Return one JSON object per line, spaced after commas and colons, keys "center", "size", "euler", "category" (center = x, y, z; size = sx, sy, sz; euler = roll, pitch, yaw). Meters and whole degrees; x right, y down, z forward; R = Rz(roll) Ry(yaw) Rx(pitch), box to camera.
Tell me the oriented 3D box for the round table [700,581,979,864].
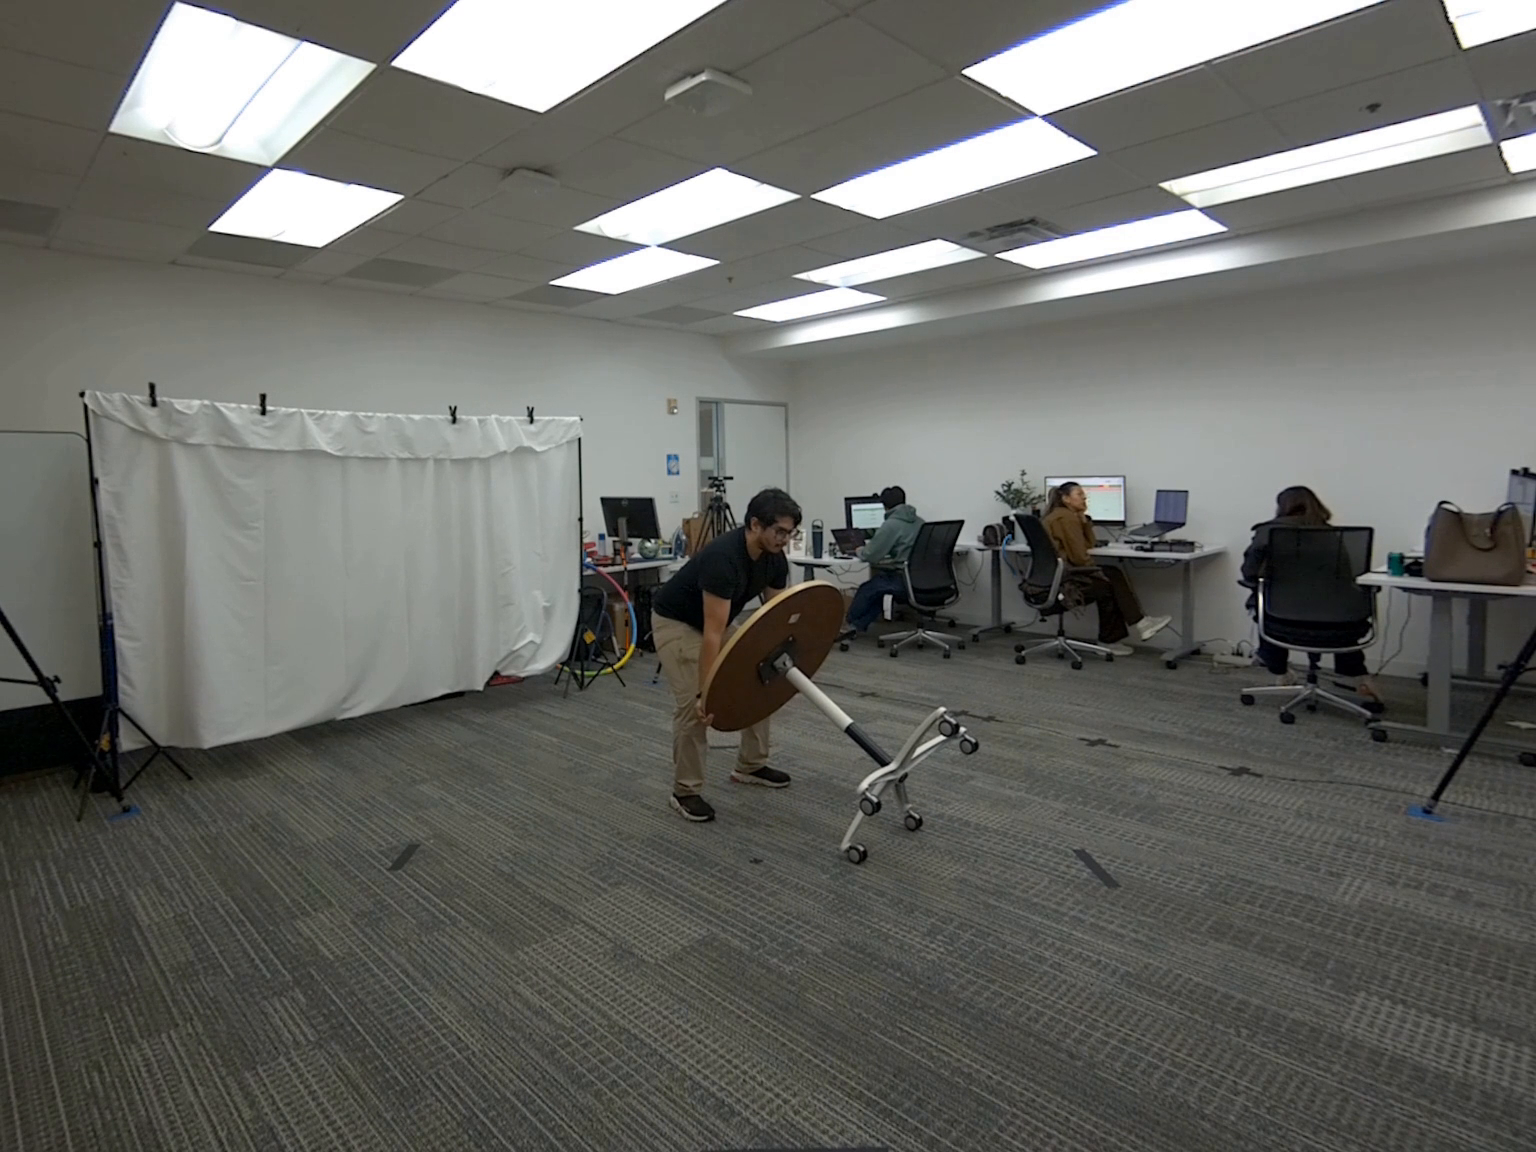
{"center": [0.284, 0.564, 3.298], "size": [0.765, 0.777, 0.815], "euler": [-6, 39, -47], "category": "round table"}
